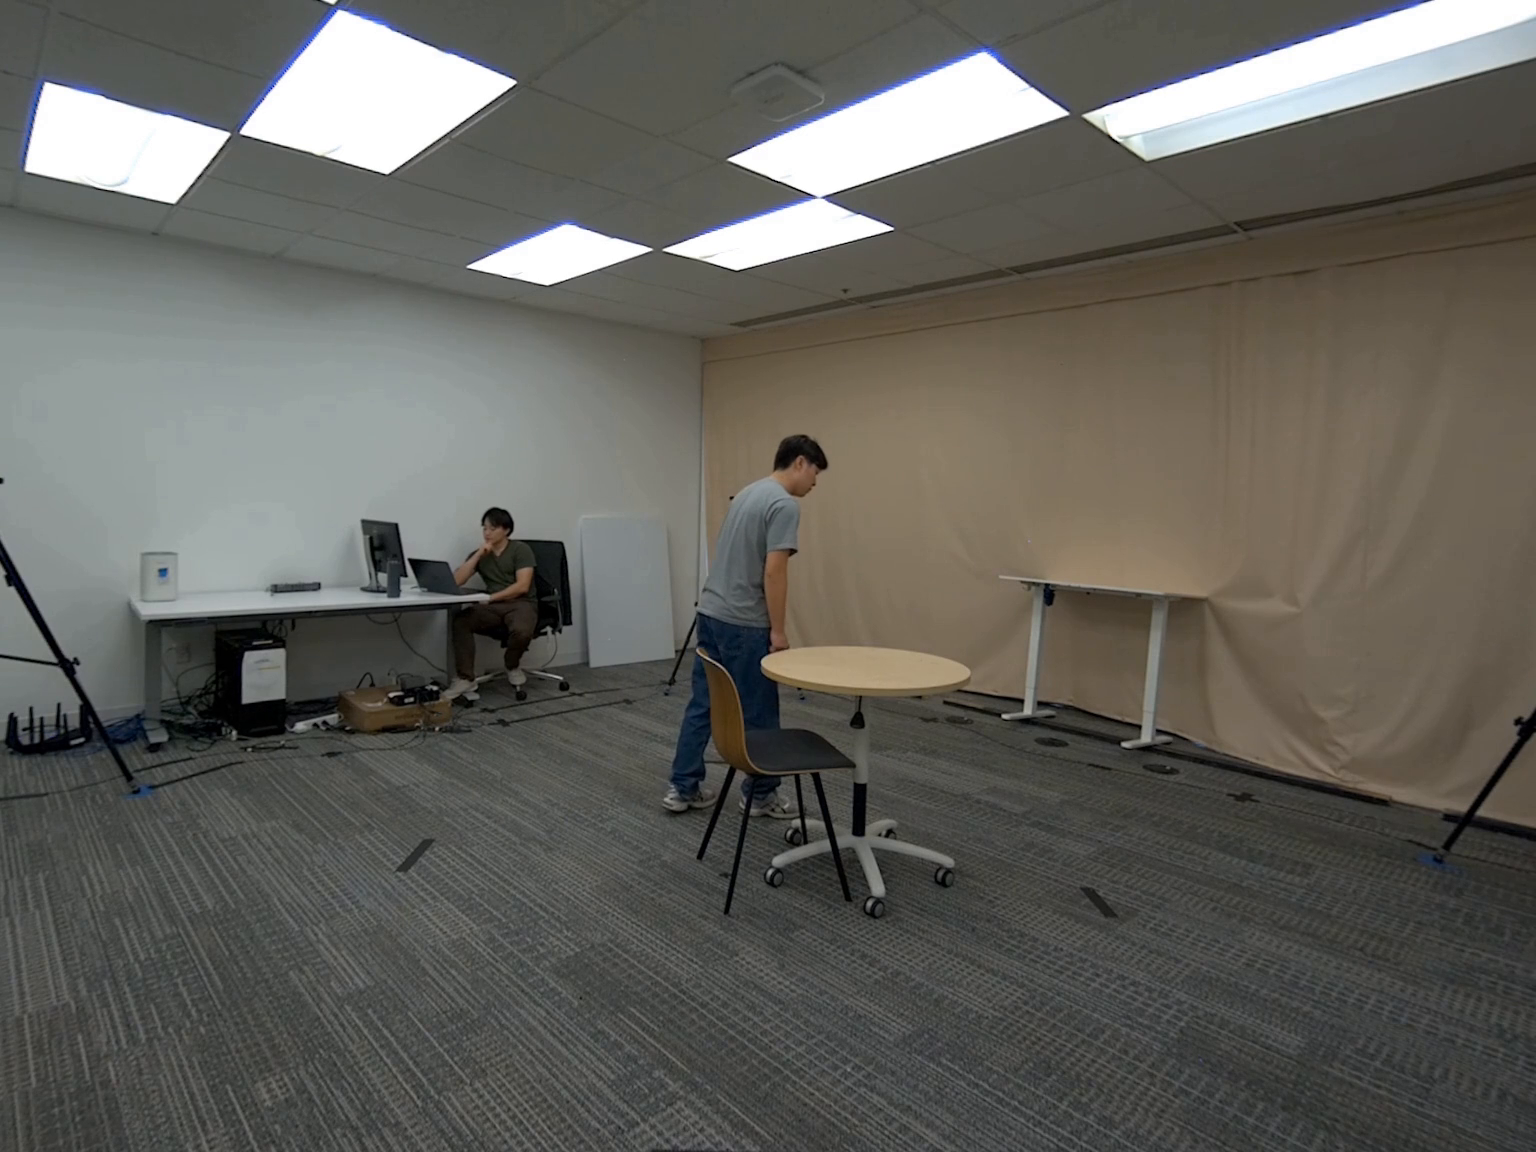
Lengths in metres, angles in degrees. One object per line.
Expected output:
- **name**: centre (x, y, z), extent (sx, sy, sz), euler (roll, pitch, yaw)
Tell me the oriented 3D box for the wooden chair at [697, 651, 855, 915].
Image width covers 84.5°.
- **wooden chair**: centre (0.015, 0.683, 3.048), extent (0.517, 0.875, 0.485), euler (-4, 4, -15)
